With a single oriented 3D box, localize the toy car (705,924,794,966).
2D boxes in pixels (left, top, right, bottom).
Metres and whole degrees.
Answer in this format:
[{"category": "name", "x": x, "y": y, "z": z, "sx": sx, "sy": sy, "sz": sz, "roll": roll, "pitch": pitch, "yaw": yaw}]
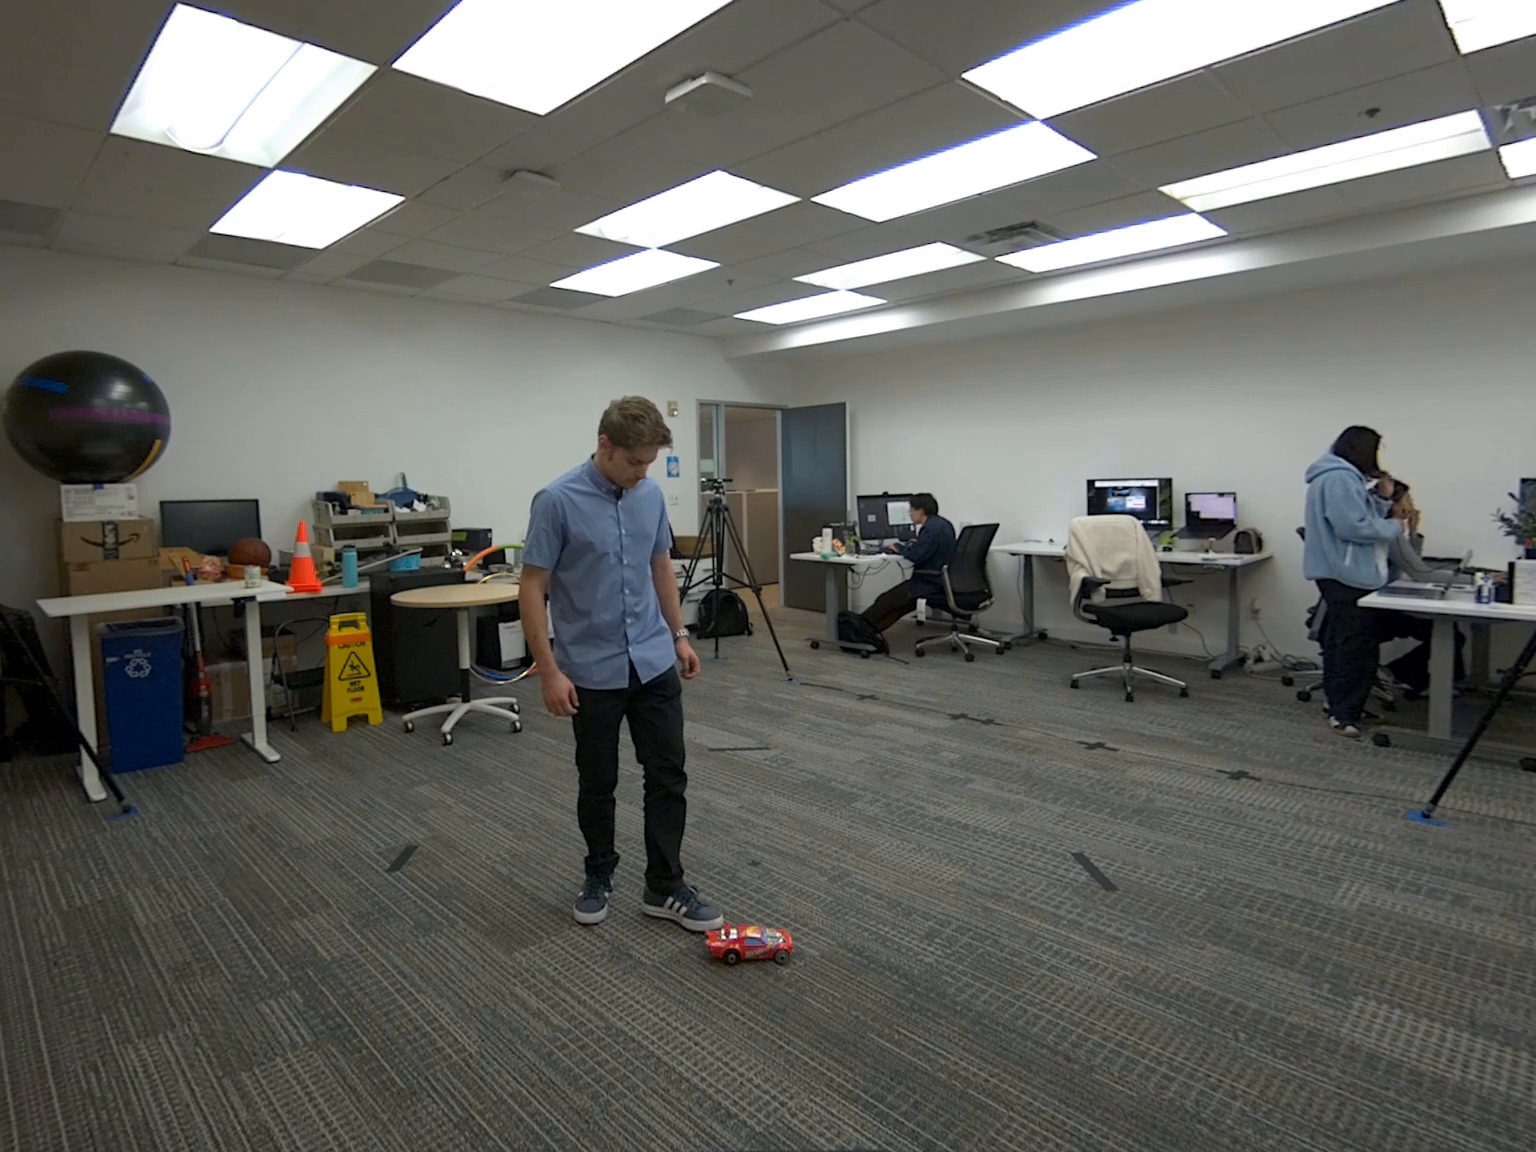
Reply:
[{"category": "toy car", "x": -0.051, "y": 1.081, "z": 2.511, "sx": 0.253, "sy": 0.083, "sz": 0.131, "roll": 9, "pitch": 4, "yaw": -4}]
